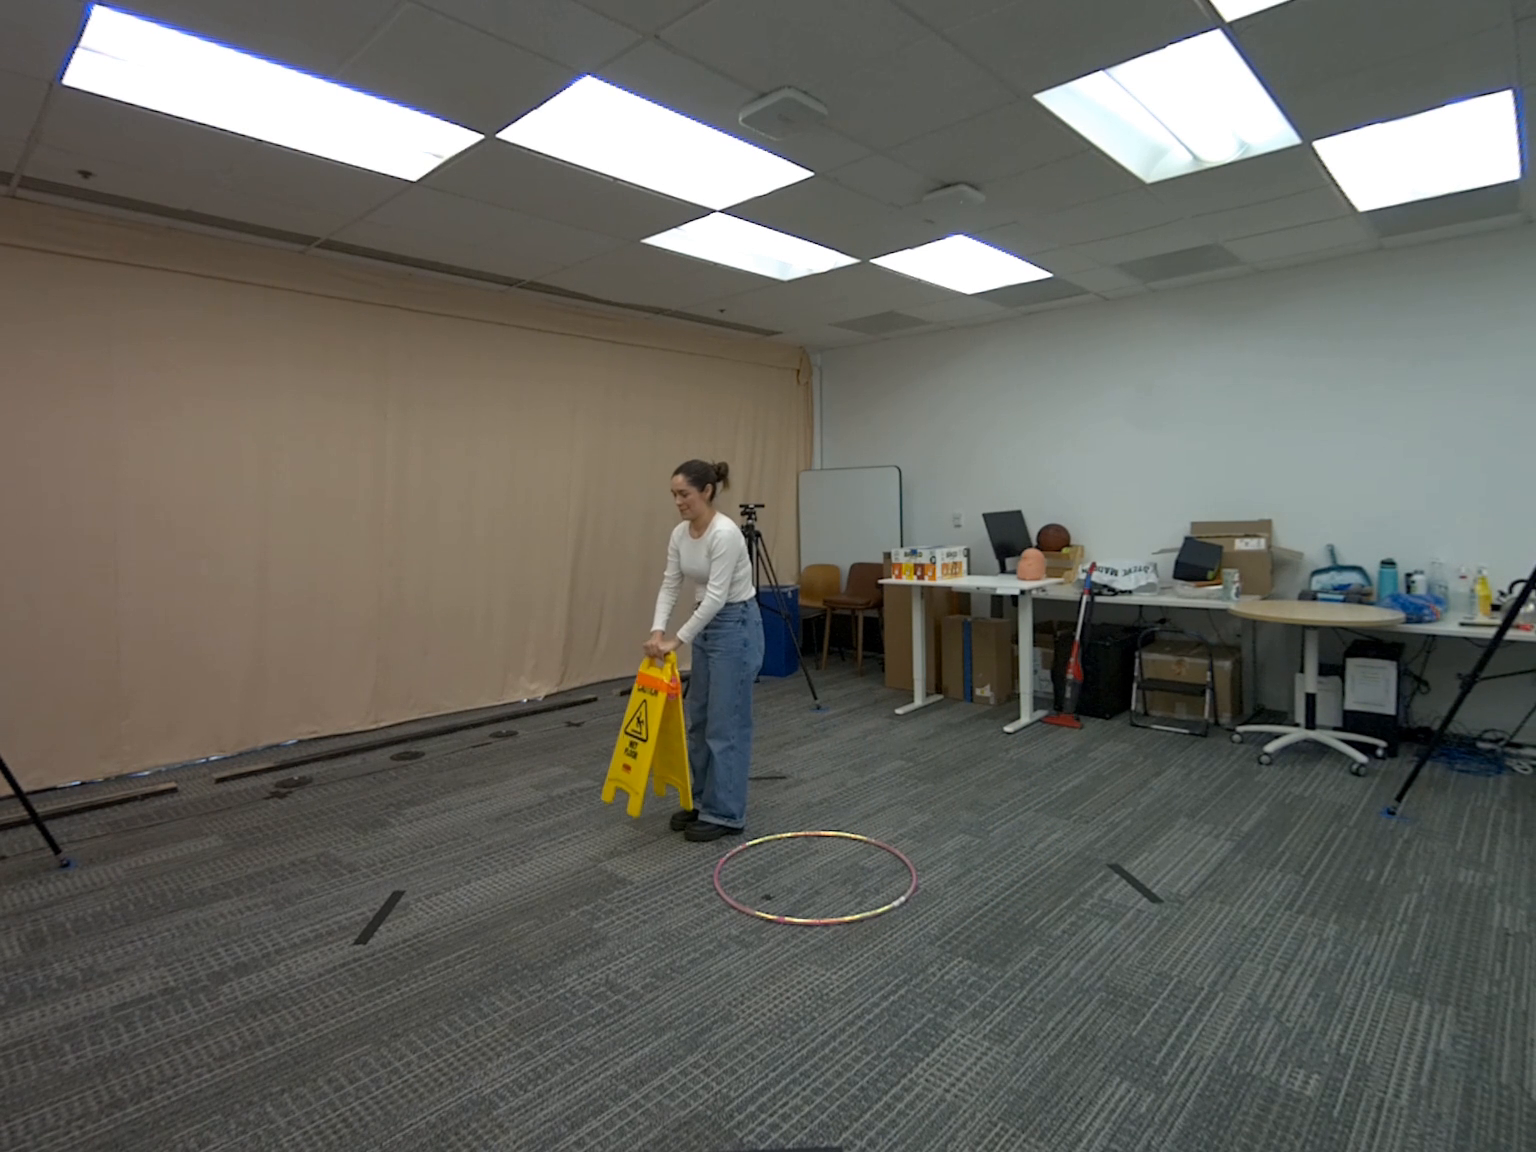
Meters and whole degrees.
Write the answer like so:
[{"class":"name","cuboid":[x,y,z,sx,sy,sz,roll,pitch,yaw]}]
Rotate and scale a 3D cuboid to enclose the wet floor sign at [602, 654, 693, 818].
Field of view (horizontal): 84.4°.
[{"class":"wet floor sign","cuboid":[-0.468,0.616,3.466,0.280,0.646,0.291,6,-2,-39]}]
